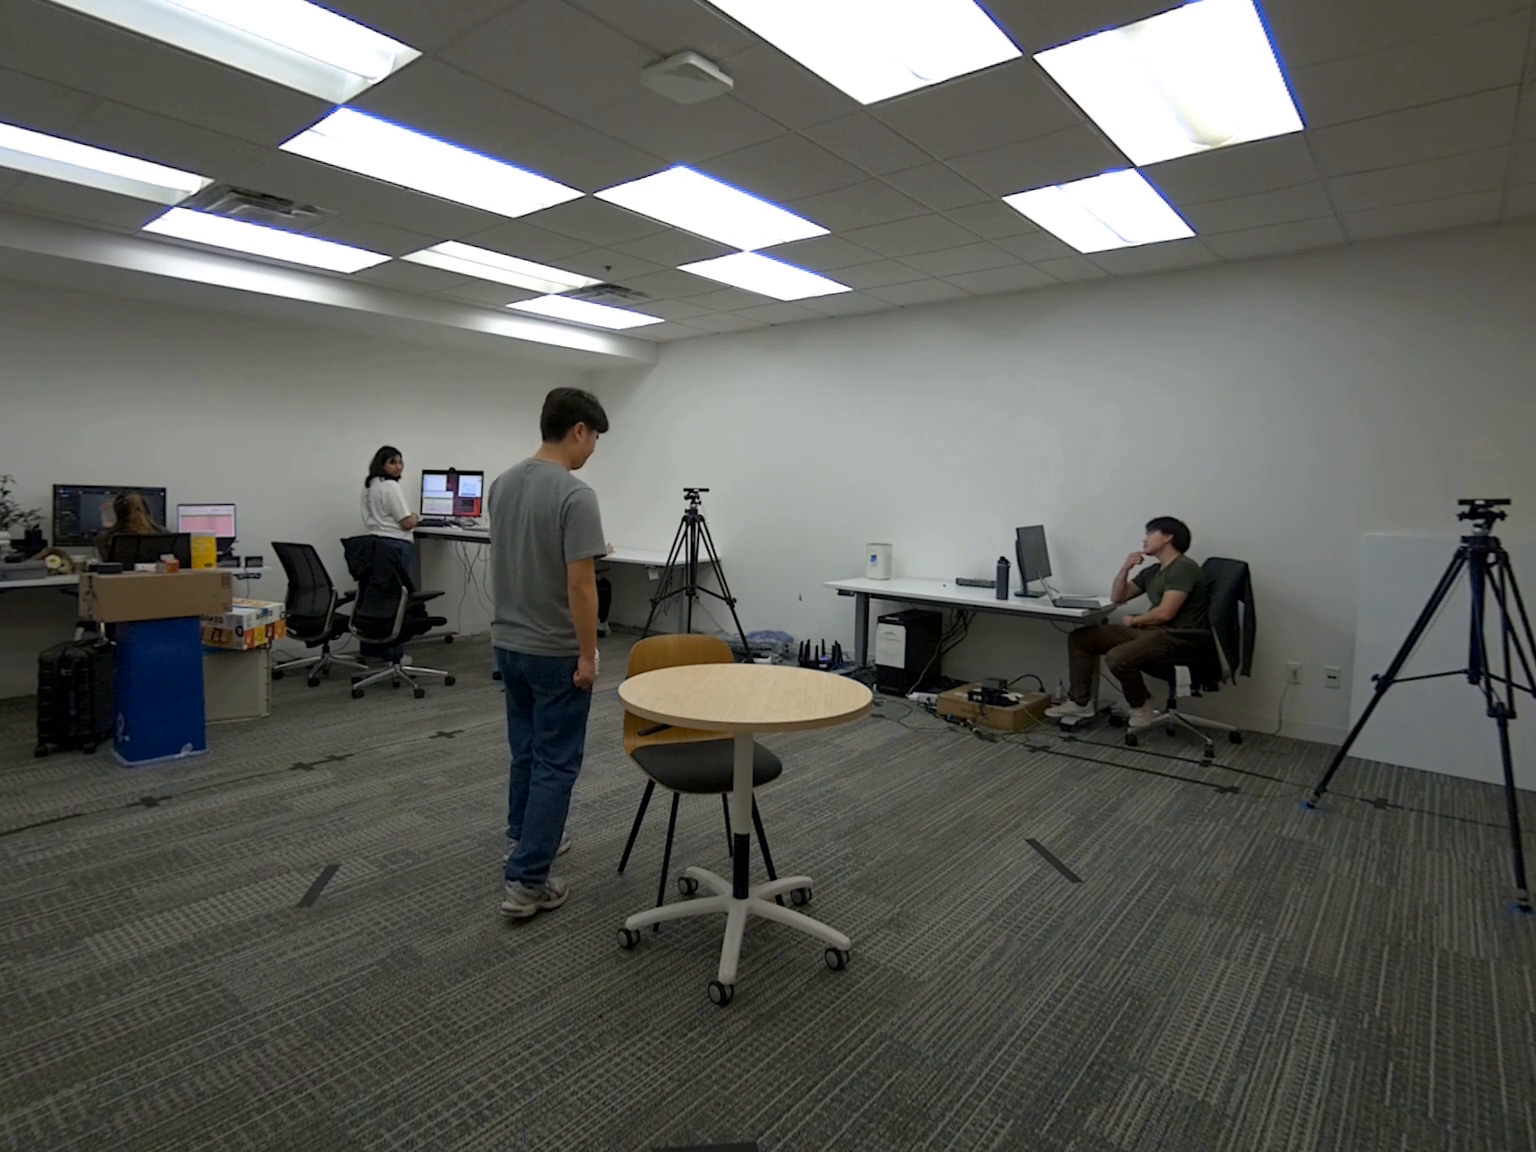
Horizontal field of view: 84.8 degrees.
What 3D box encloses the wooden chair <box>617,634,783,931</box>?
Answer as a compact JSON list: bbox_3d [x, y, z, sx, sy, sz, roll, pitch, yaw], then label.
[{"bbox_3d":[-0.247,0.661,2.913,0.467,0.879,0.534,0,-1,-23],"label":"wooden chair"}]
